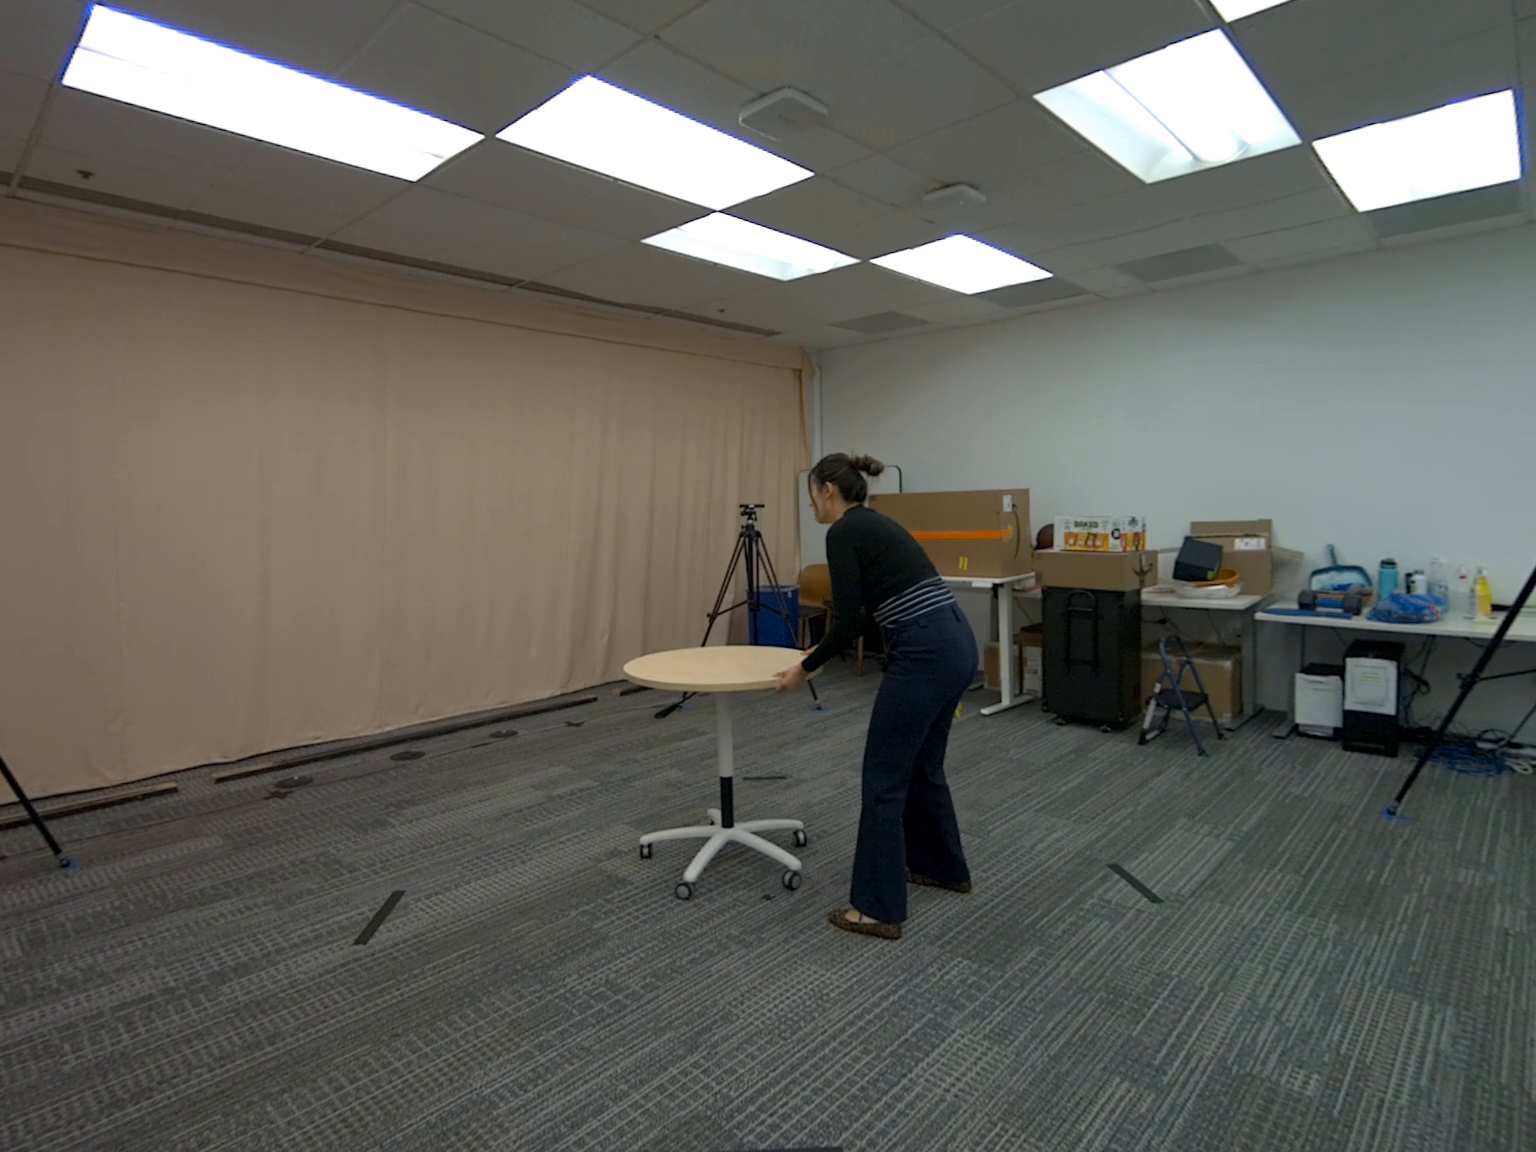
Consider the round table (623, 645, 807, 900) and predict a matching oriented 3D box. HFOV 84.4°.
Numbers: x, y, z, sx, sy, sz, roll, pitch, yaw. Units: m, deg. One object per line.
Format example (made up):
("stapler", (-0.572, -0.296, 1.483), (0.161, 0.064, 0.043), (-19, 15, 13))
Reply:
("round table", (-0.163, 0.728, 3.268), (0.763, 0.792, 0.766), (-2, 4, -2))
